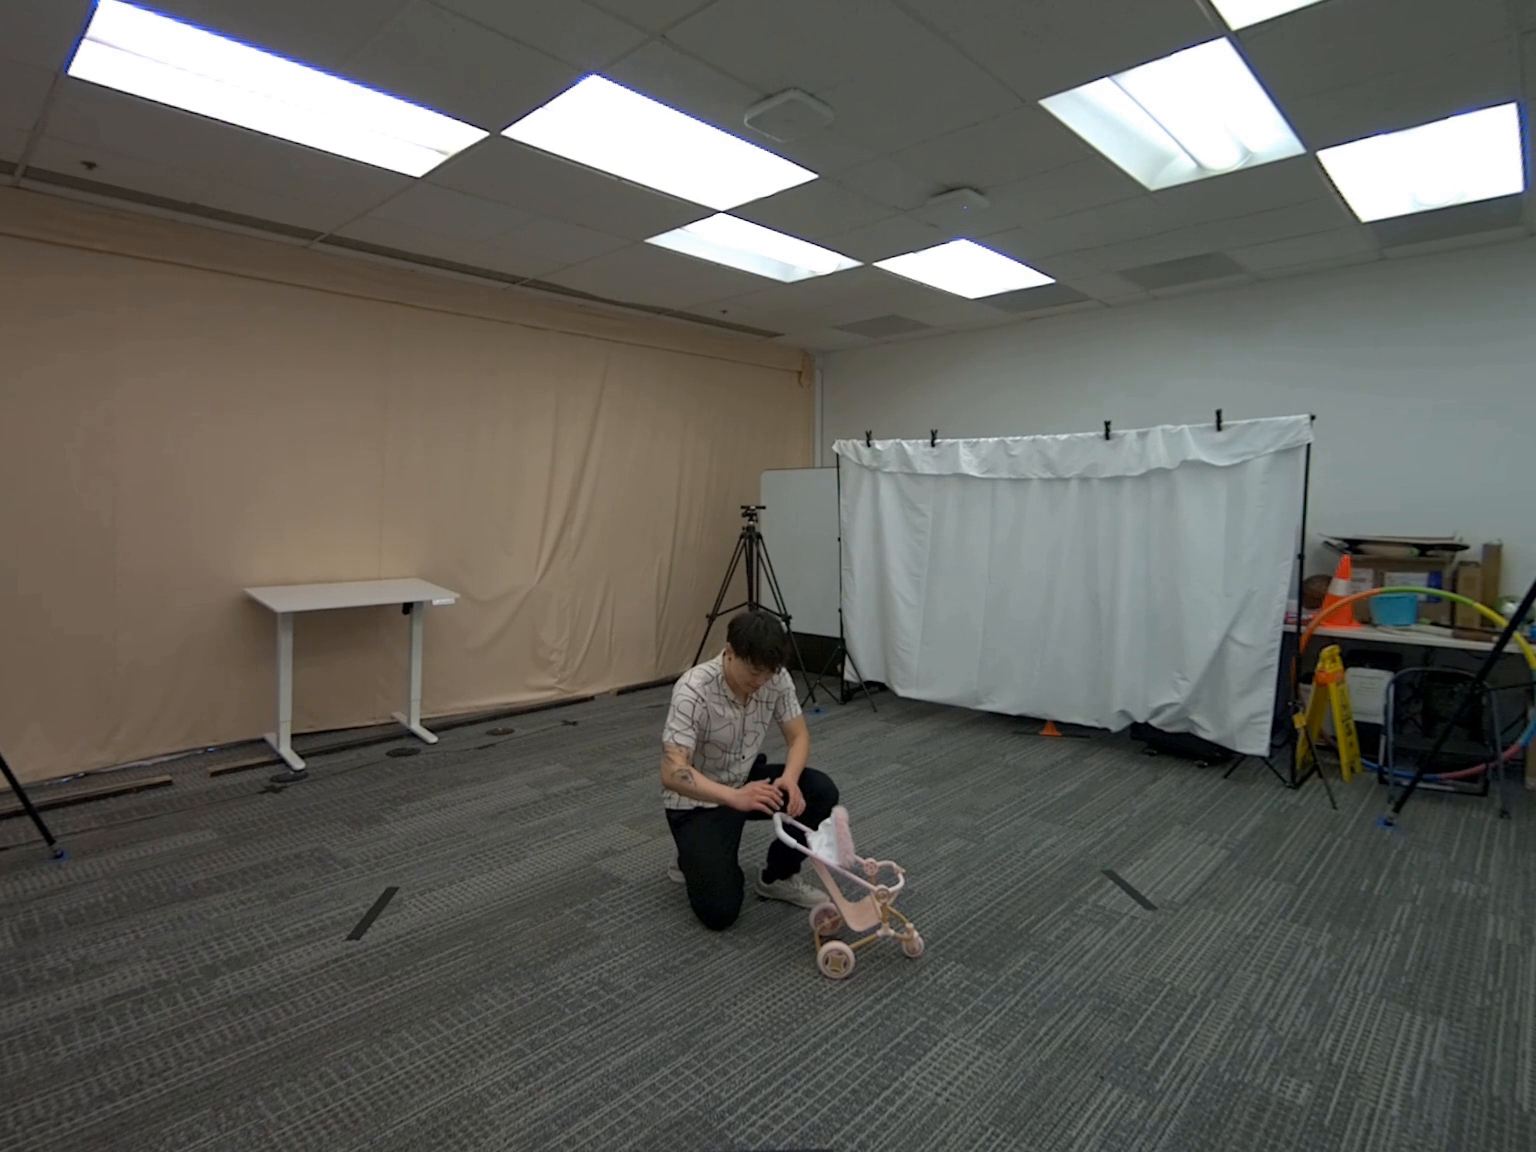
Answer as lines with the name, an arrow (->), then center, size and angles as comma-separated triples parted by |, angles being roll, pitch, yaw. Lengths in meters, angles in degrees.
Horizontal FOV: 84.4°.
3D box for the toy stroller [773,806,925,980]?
toy stroller -> 0.259, 0.952, 2.592 | 0.343, 0.534, 0.280 | -16, 2, 6
